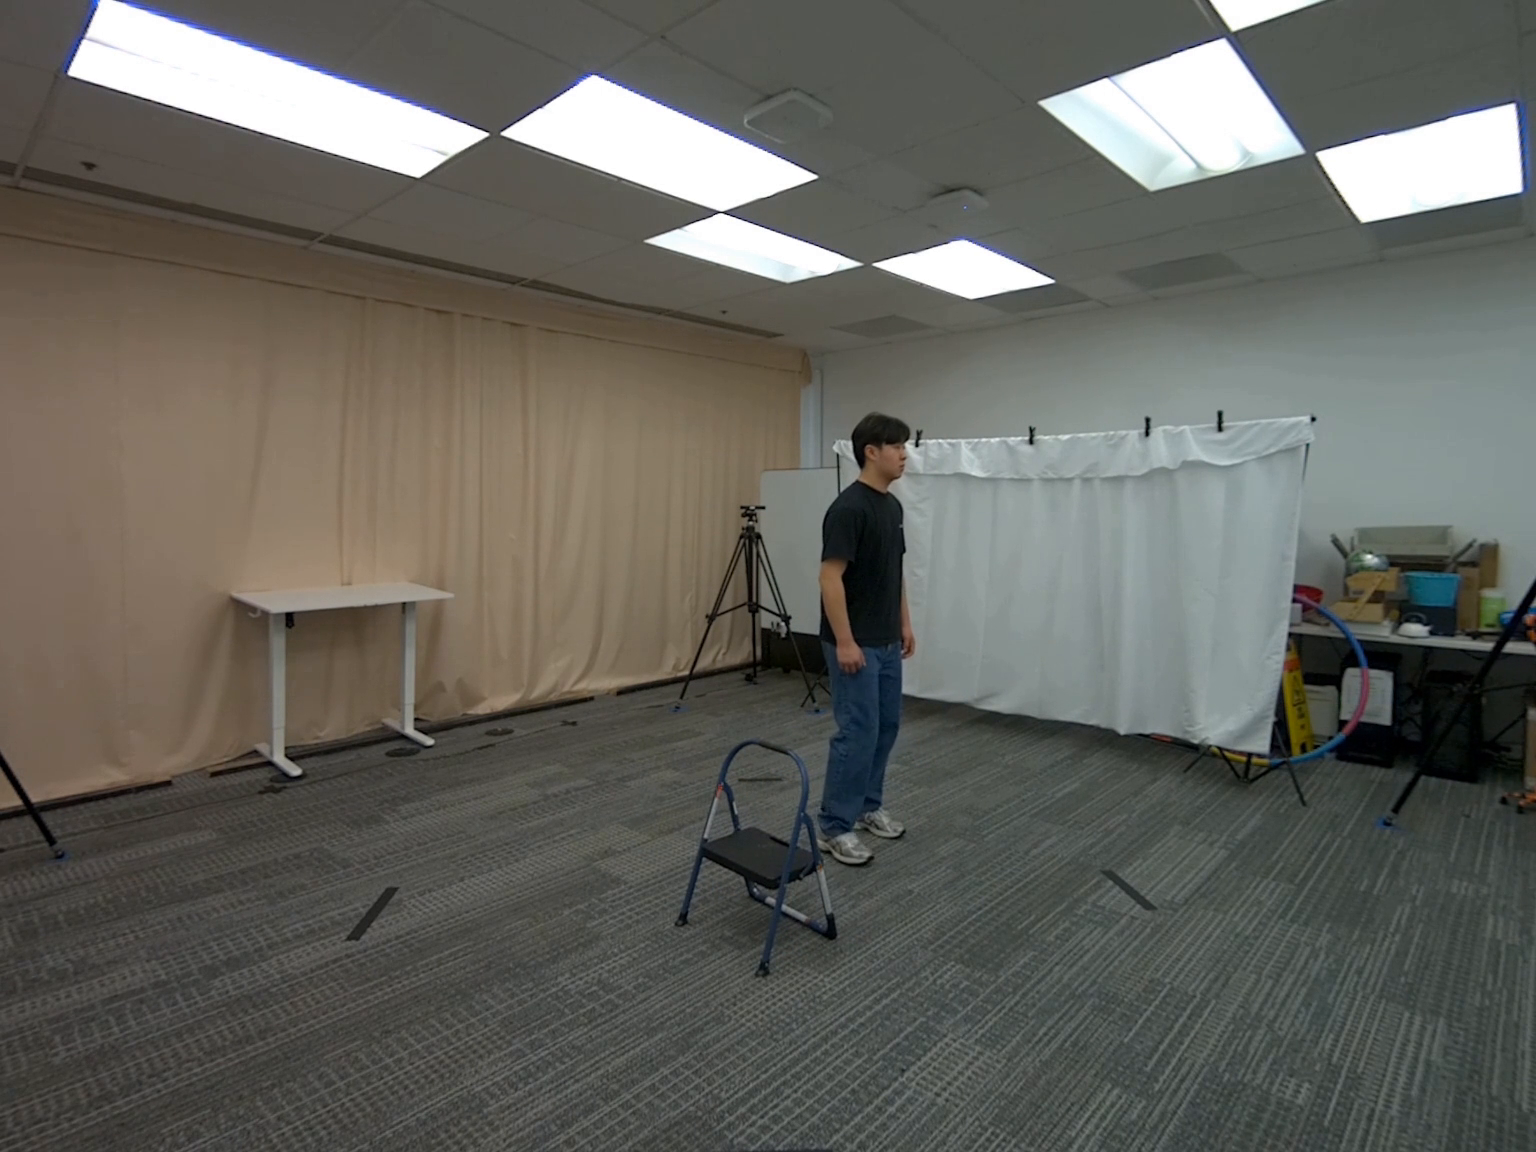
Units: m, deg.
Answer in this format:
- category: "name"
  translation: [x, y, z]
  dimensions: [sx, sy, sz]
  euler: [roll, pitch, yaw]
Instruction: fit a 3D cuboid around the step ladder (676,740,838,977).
- category: "step ladder"
  translation: [-0.034, 0.859, 2.740]
  dimensions: [0.338, 0.605, 0.445]
  euler: [-3, 4, -42]
